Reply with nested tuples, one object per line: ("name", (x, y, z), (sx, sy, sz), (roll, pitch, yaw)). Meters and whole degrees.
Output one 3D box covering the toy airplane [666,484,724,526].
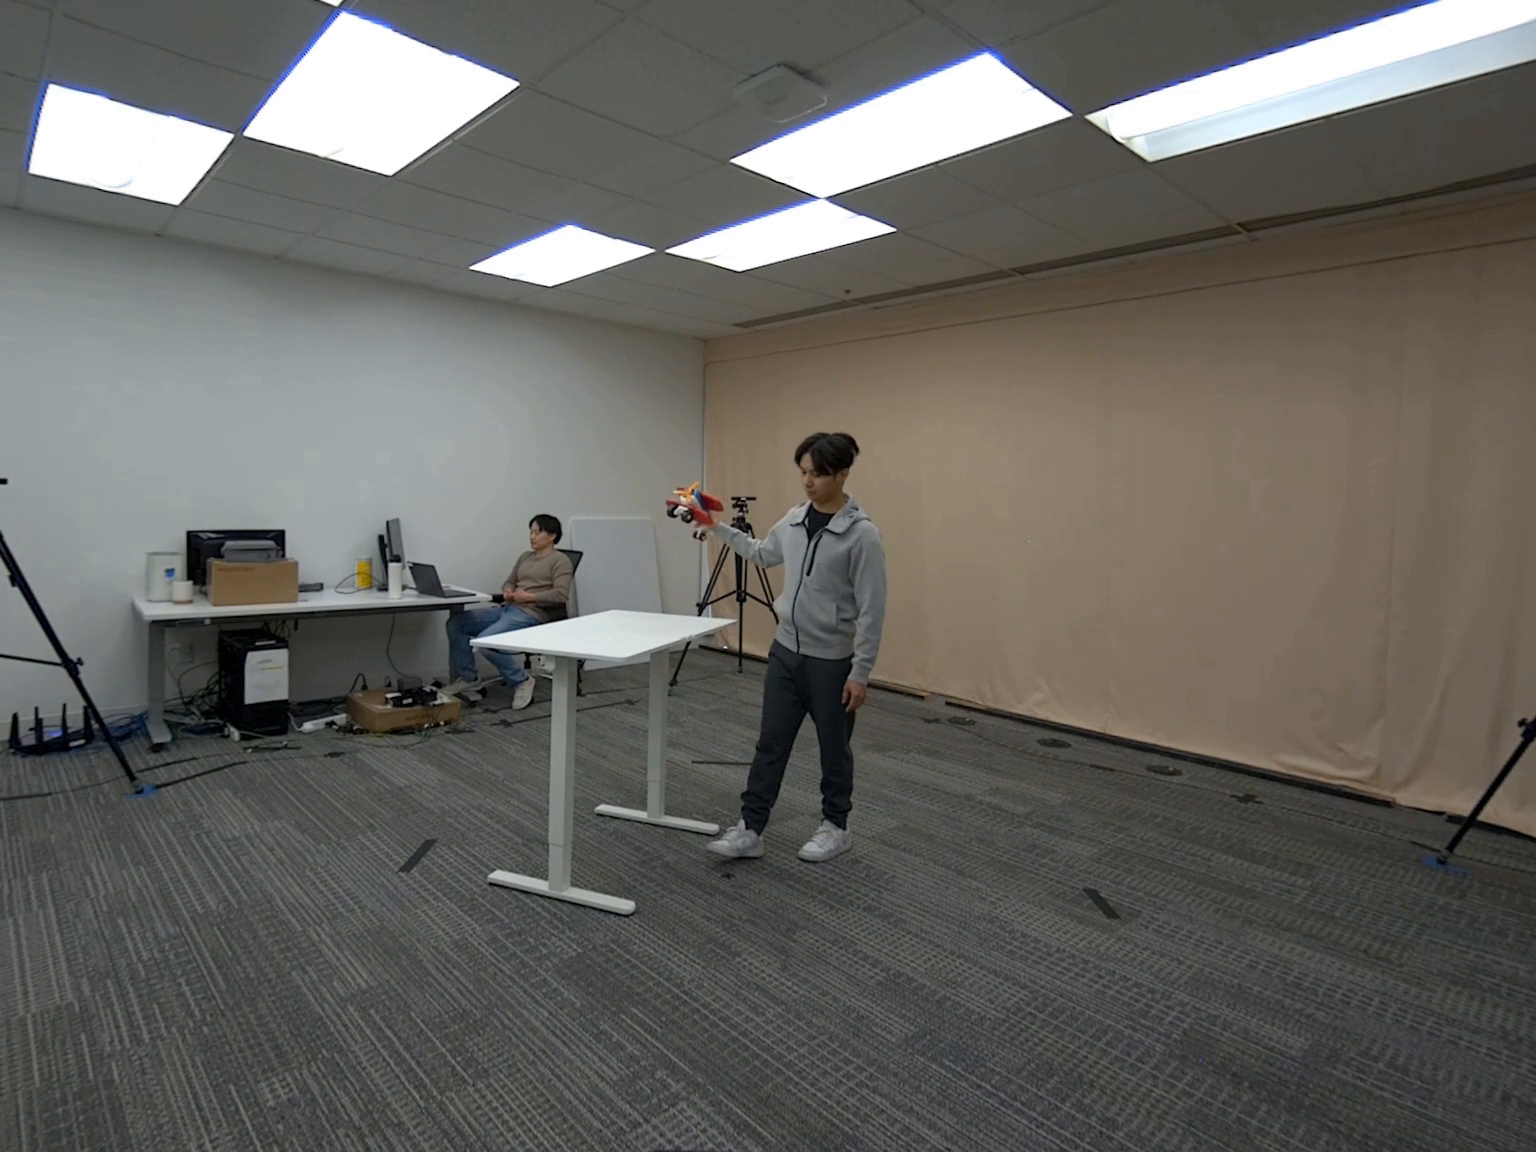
("toy airplane", (-0.332, -0.272, 3.584), (0.253, 0.157, 0.256), (28, -11, 8))
